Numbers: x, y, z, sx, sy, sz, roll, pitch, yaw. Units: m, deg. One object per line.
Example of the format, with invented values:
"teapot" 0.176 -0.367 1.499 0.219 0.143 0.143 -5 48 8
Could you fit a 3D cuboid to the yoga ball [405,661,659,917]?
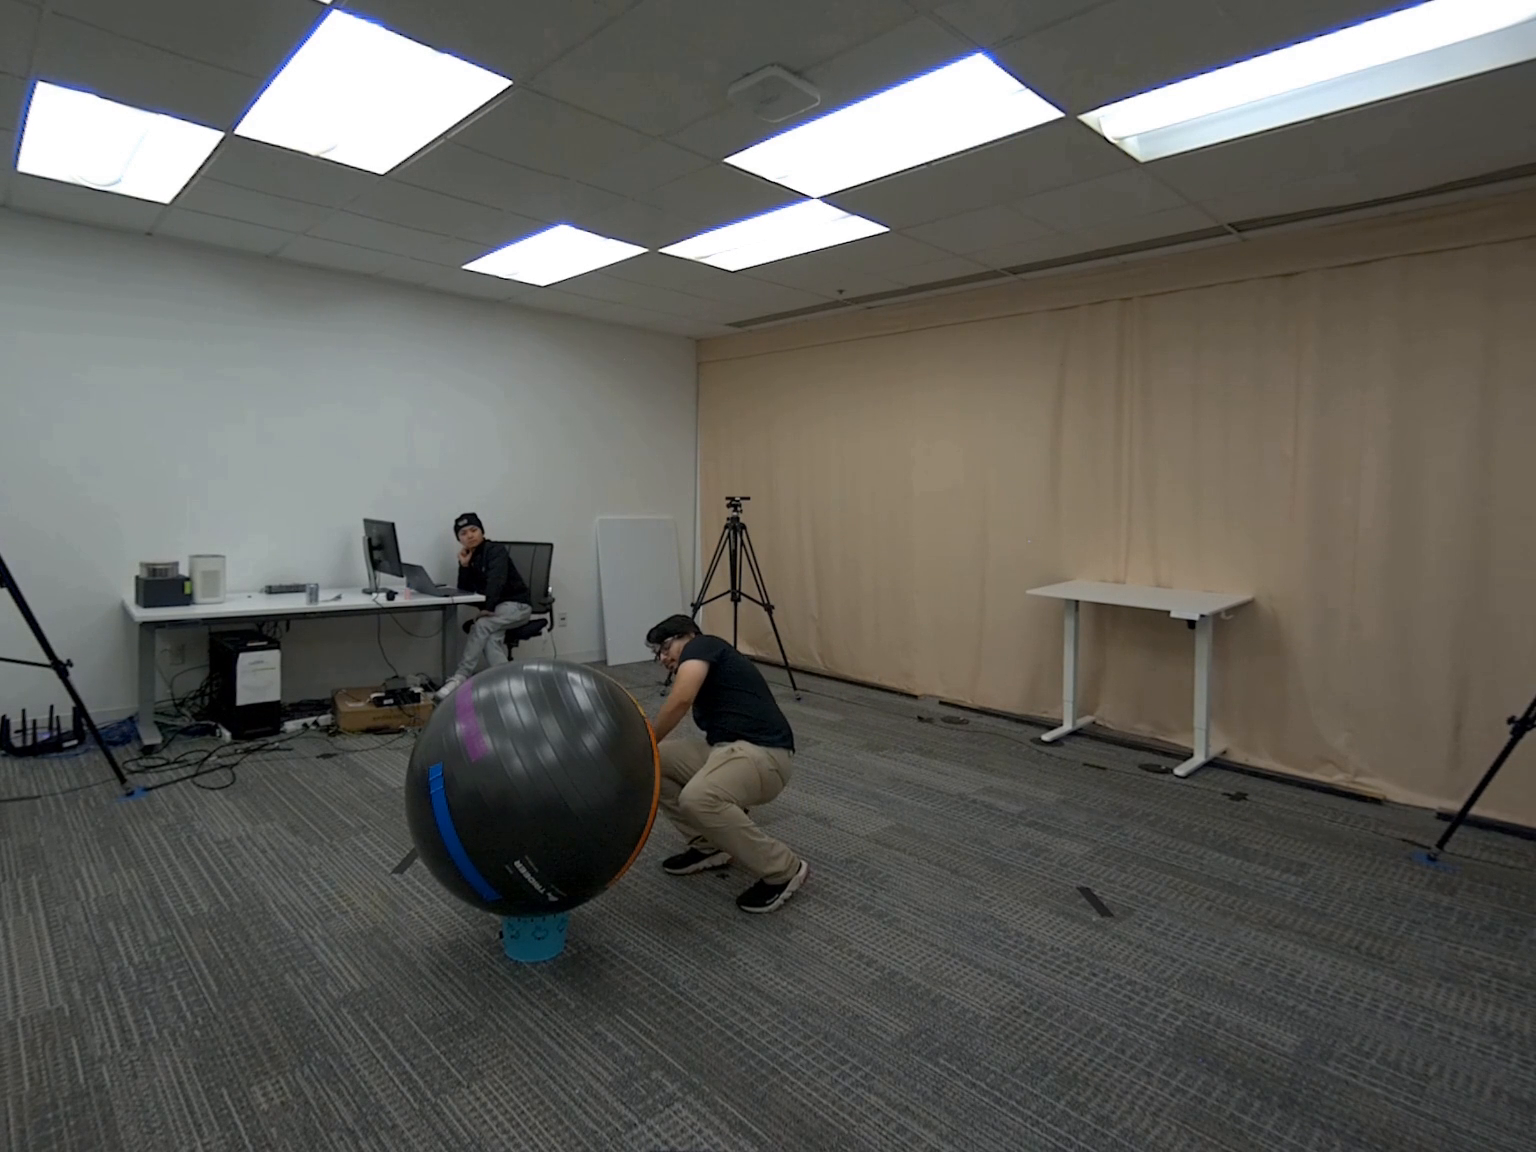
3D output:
"yoga ball" -0.707 0.639 2.565 0.757 0.756 0.761 1 4 -1
